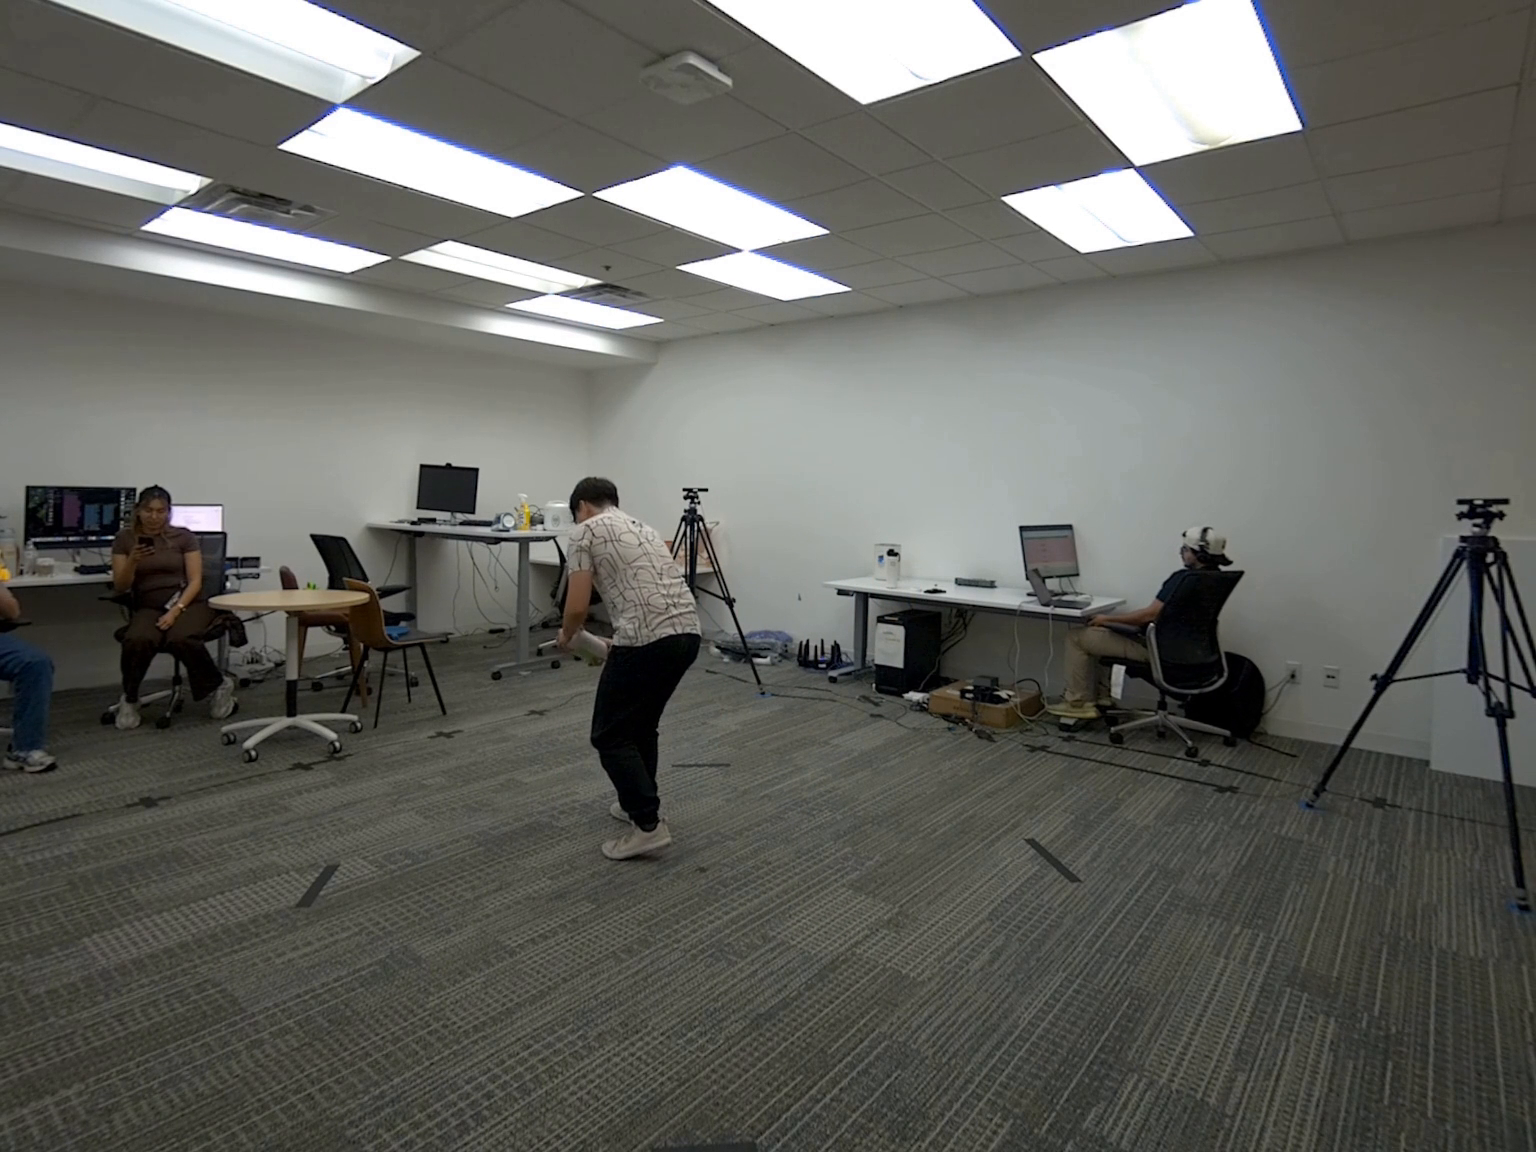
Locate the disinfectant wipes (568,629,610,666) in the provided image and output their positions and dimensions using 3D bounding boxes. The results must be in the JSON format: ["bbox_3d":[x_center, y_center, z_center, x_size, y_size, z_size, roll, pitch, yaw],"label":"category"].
[{"bbox_3d":[-0.802,0.298,3.701,0.121,0.119,0.208,3,-23,32],"label":"disinfectant wipes"}]
